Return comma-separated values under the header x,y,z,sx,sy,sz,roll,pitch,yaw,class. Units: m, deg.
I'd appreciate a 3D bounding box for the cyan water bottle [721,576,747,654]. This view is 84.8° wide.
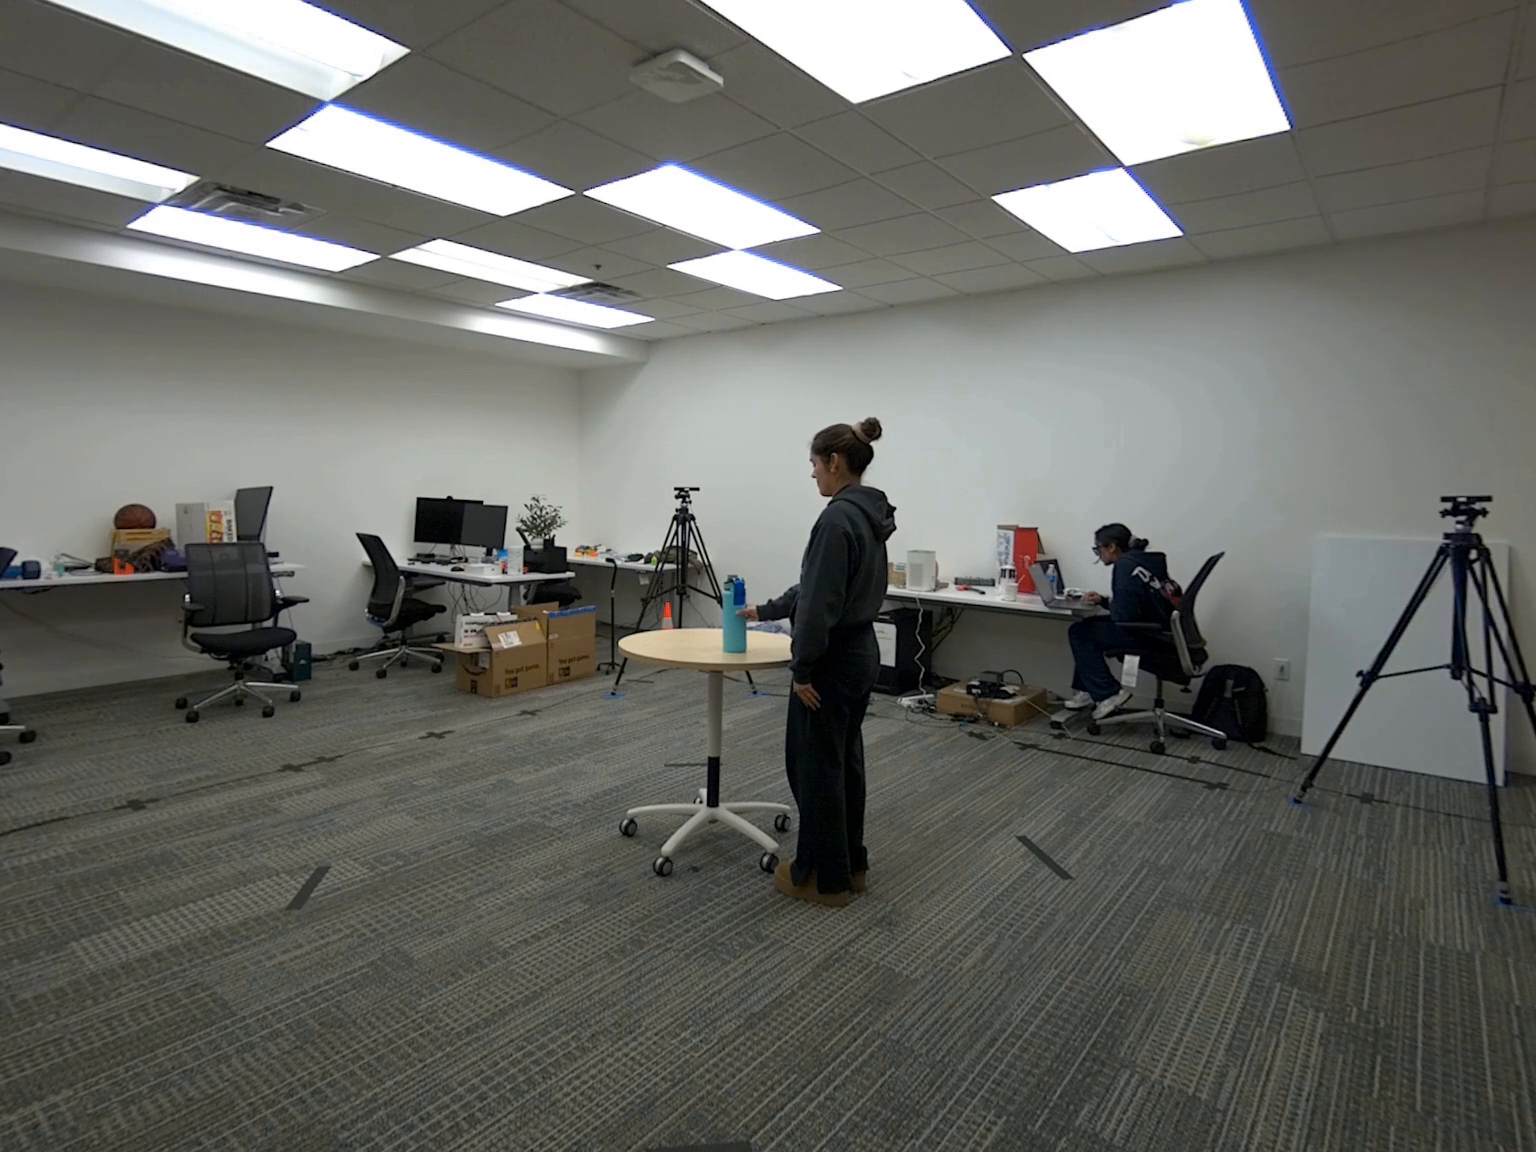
x,y,z,sx,sy,sz,roll,pitch,yaw,class
-0.125,0.130,3.183,0.092,0.282,0.093,0,4,-2,cyan water bottle
